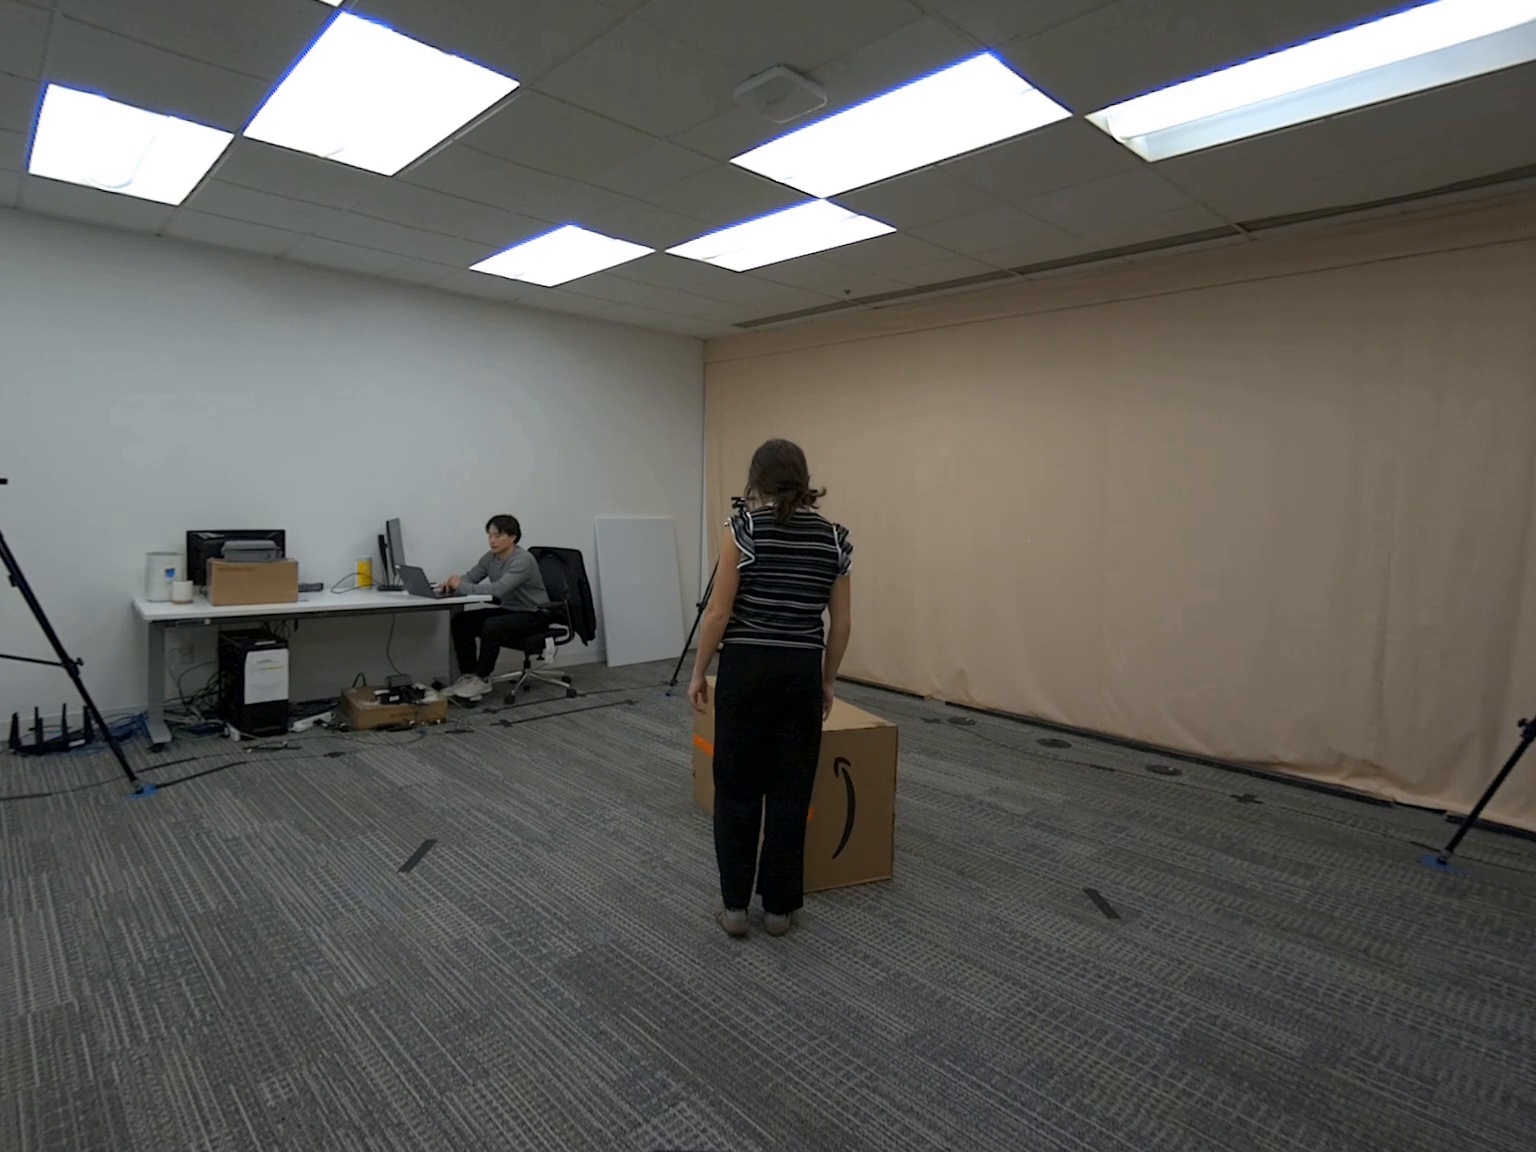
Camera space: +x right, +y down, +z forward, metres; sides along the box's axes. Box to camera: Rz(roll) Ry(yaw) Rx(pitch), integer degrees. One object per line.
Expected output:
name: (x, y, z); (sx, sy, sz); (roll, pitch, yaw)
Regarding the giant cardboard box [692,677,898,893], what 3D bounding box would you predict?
giant cardboard box: (0.058, 0.788, 3.492); (0.419, 0.576, 1.046); (0, 4, -24)
